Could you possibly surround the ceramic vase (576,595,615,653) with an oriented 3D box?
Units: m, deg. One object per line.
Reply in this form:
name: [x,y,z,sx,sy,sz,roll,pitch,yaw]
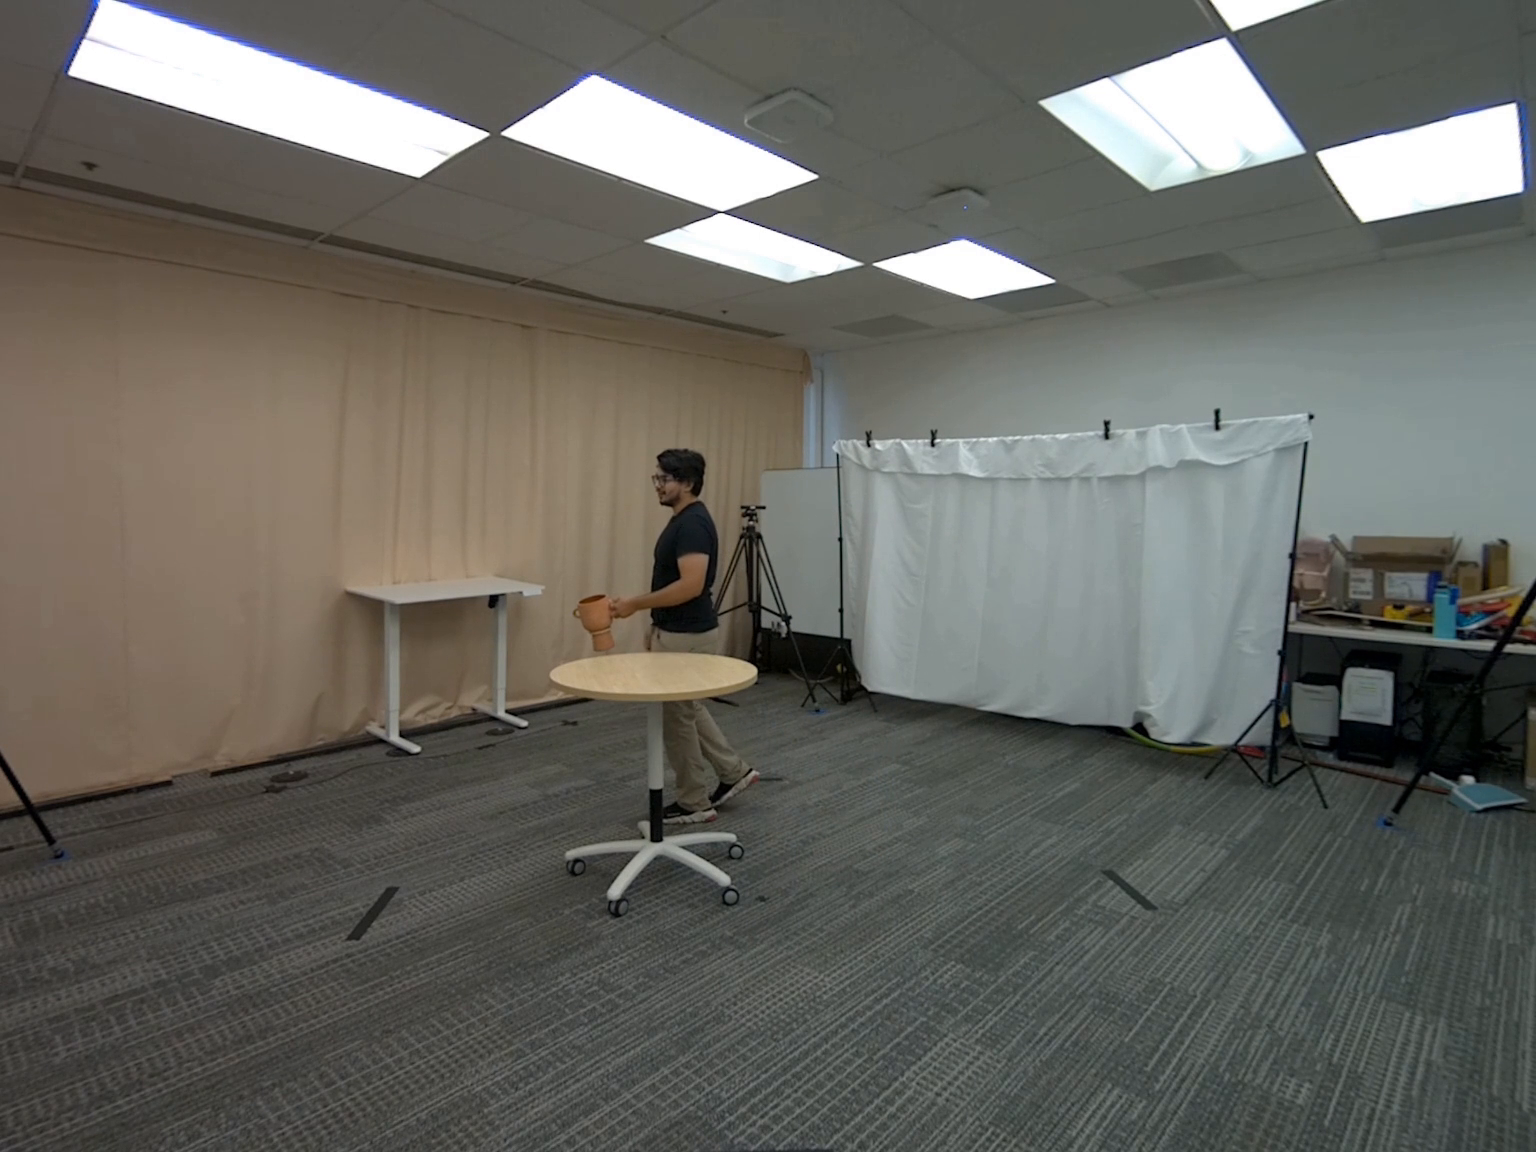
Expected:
ceramic vase: [-0.721,0.201,3.588,0.131,0.218,0.164,-20,14,-37]
